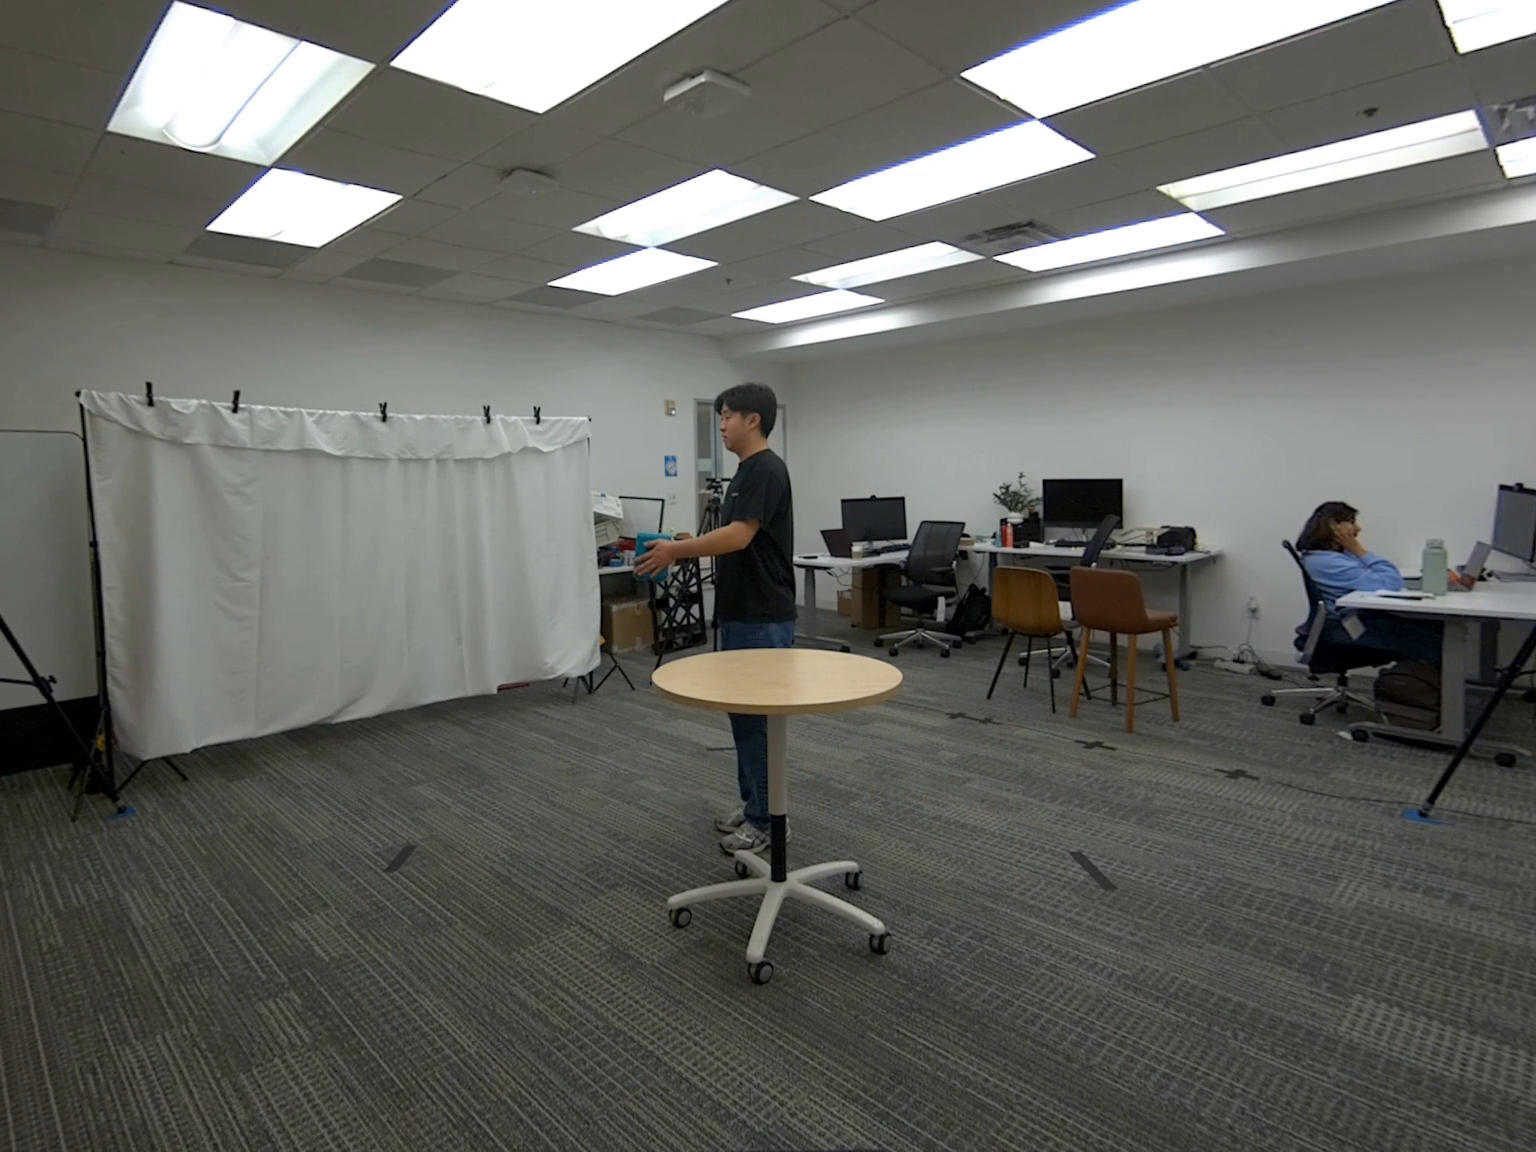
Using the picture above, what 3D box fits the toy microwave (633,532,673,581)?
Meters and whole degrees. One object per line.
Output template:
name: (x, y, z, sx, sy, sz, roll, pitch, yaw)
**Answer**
toy microwave: (-0.434, -0.081, 3.343, 0.152, 0.184, 0.286, 3, 0, -3)
